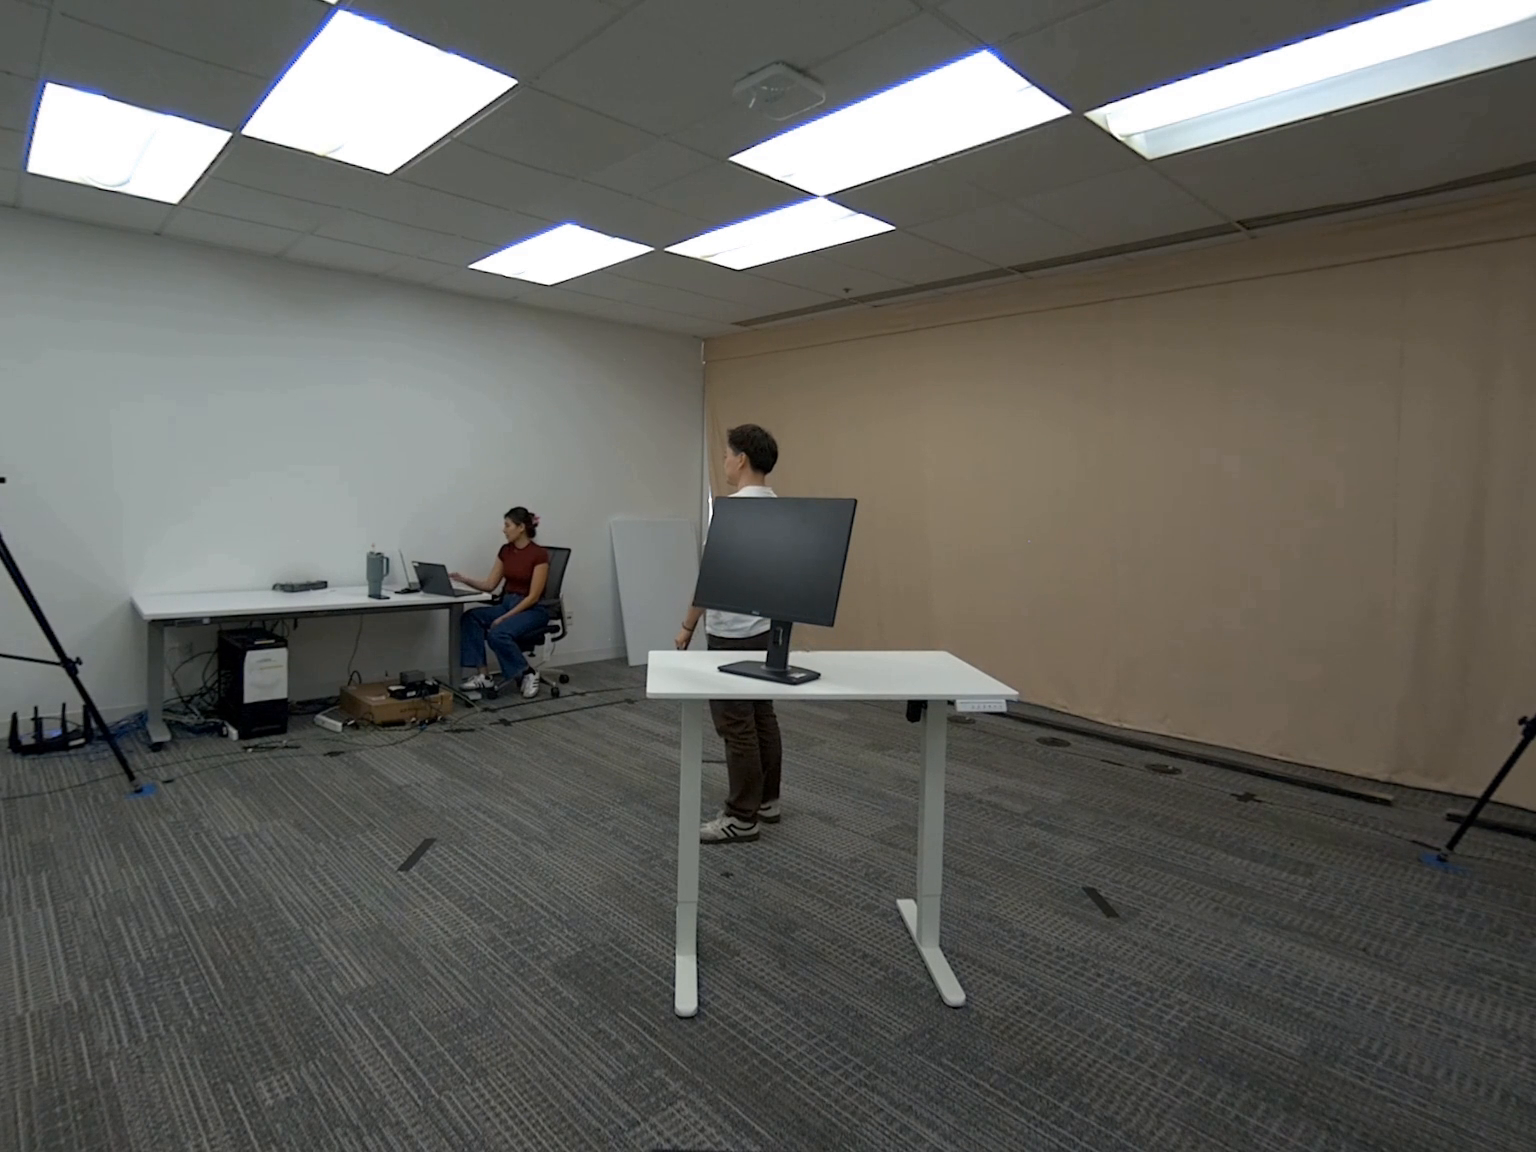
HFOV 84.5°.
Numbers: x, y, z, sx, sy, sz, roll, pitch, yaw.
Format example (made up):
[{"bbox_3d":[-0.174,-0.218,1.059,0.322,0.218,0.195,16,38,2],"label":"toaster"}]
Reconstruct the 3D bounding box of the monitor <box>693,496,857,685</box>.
[{"bbox_3d":[0.015,0.037,2.431,0.552,0.522,0.182,4,2,41],"label":"monitor"}]
